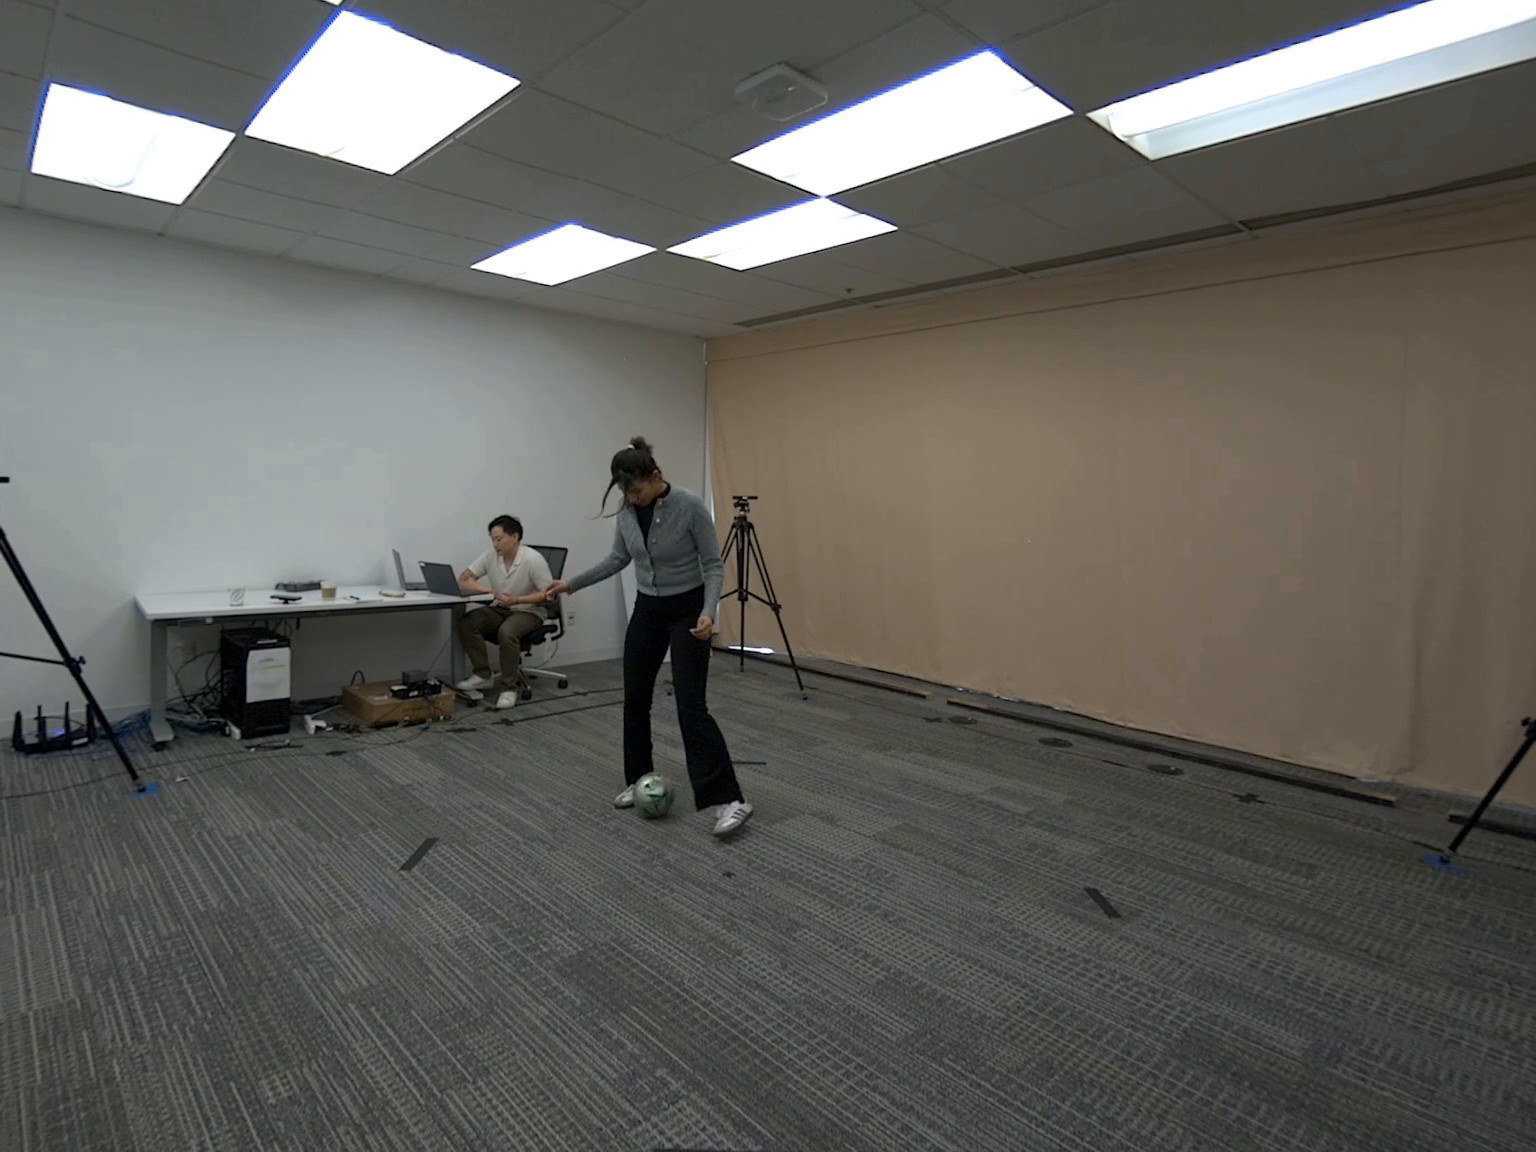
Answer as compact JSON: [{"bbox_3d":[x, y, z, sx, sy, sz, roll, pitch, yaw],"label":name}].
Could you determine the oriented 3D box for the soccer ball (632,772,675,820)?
[{"bbox_3d":[-0.507,0.948,3.653,0.187,0.187,0.188,1,4,-1],"label":"soccer ball"}]
